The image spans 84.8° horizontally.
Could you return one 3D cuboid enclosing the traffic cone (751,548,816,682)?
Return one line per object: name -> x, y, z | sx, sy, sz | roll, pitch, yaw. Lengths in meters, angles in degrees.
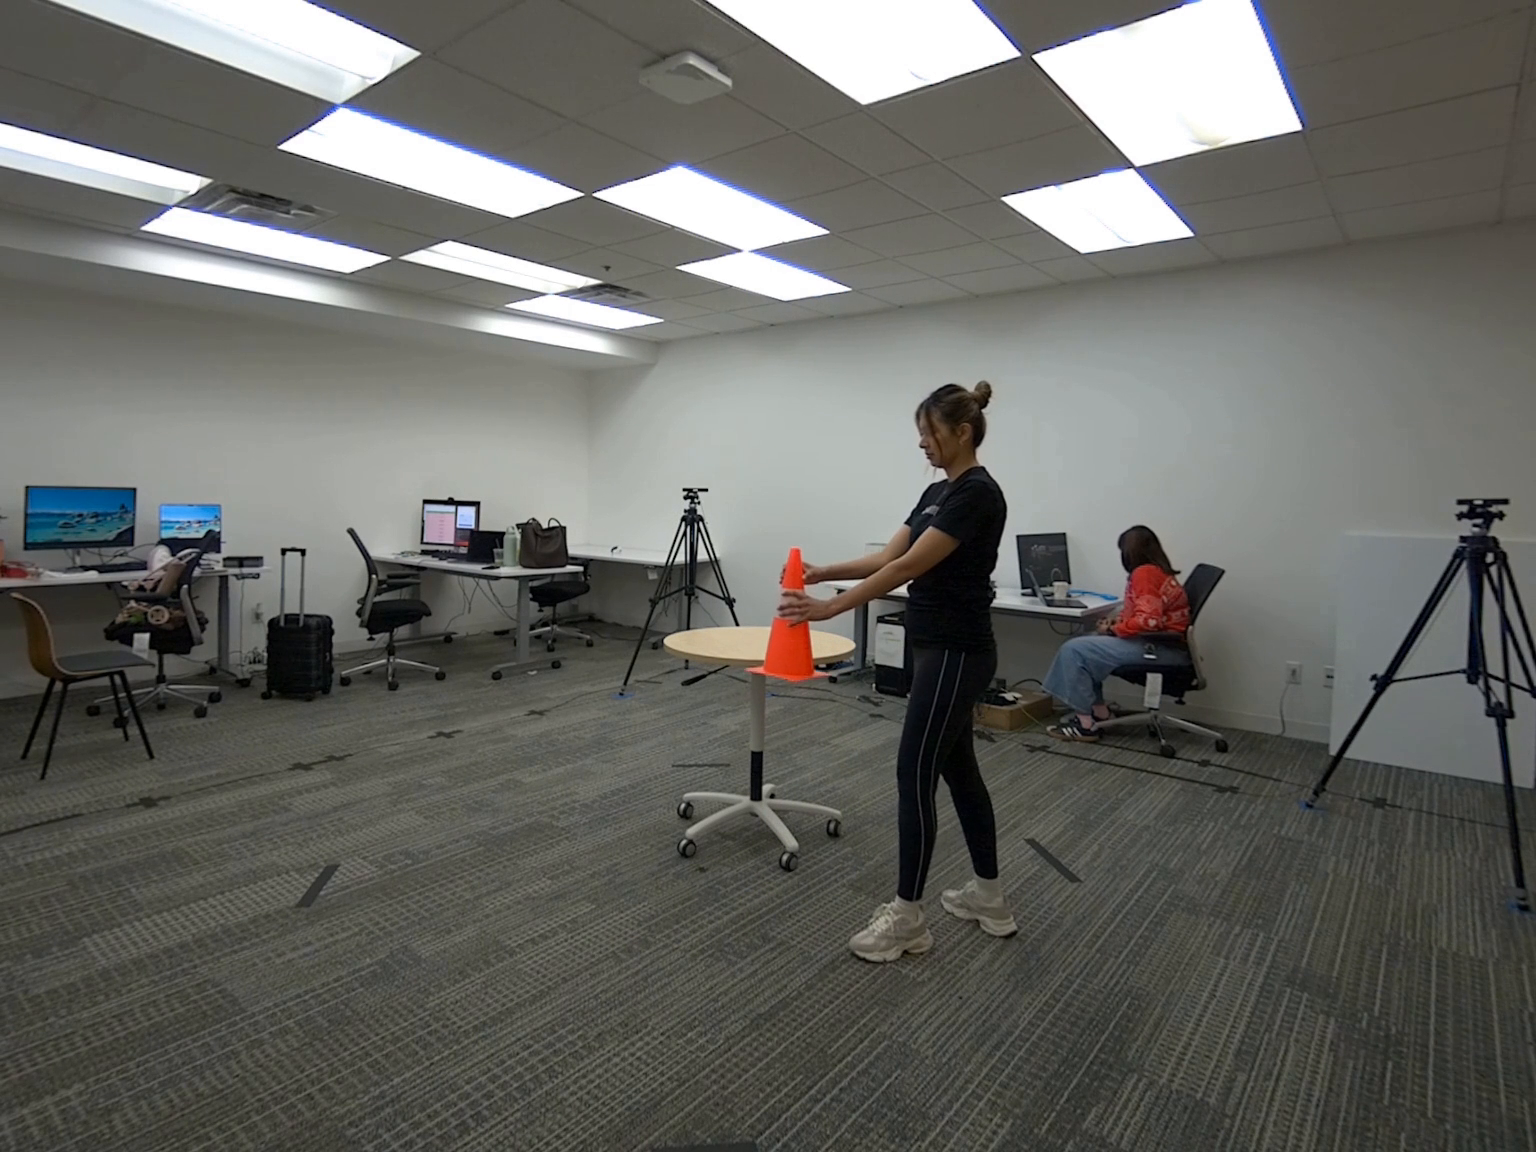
traffic cone -> 0.066, 0.102, 2.612 | 0.198, 0.384, 0.209 | 3, -1, -23
